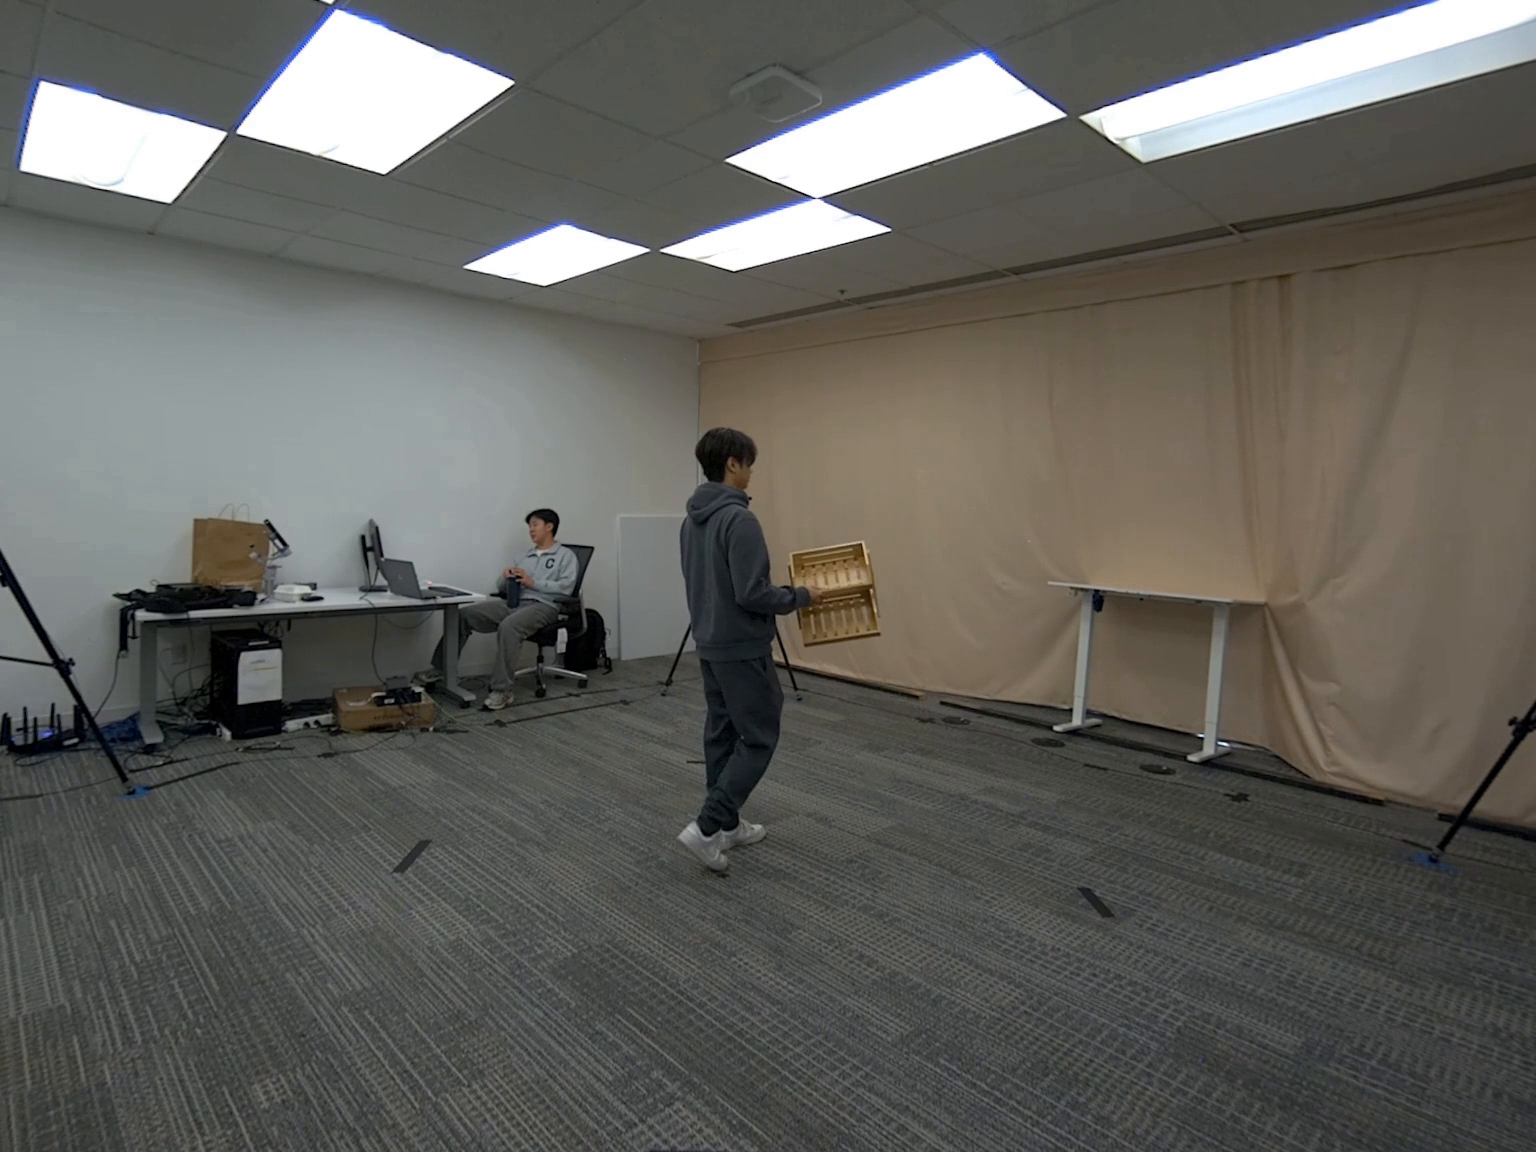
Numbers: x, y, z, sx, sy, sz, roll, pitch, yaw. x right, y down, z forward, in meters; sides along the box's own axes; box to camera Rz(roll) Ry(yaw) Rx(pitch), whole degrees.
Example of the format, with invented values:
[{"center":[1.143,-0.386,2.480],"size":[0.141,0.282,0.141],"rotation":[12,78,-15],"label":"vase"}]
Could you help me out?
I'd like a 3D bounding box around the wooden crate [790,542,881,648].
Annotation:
[{"center":[0.252,0.076,3.326],"size":[0.325,0.266,0.309],"rotation":[-10,39,5],"label":"wooden crate"}]
